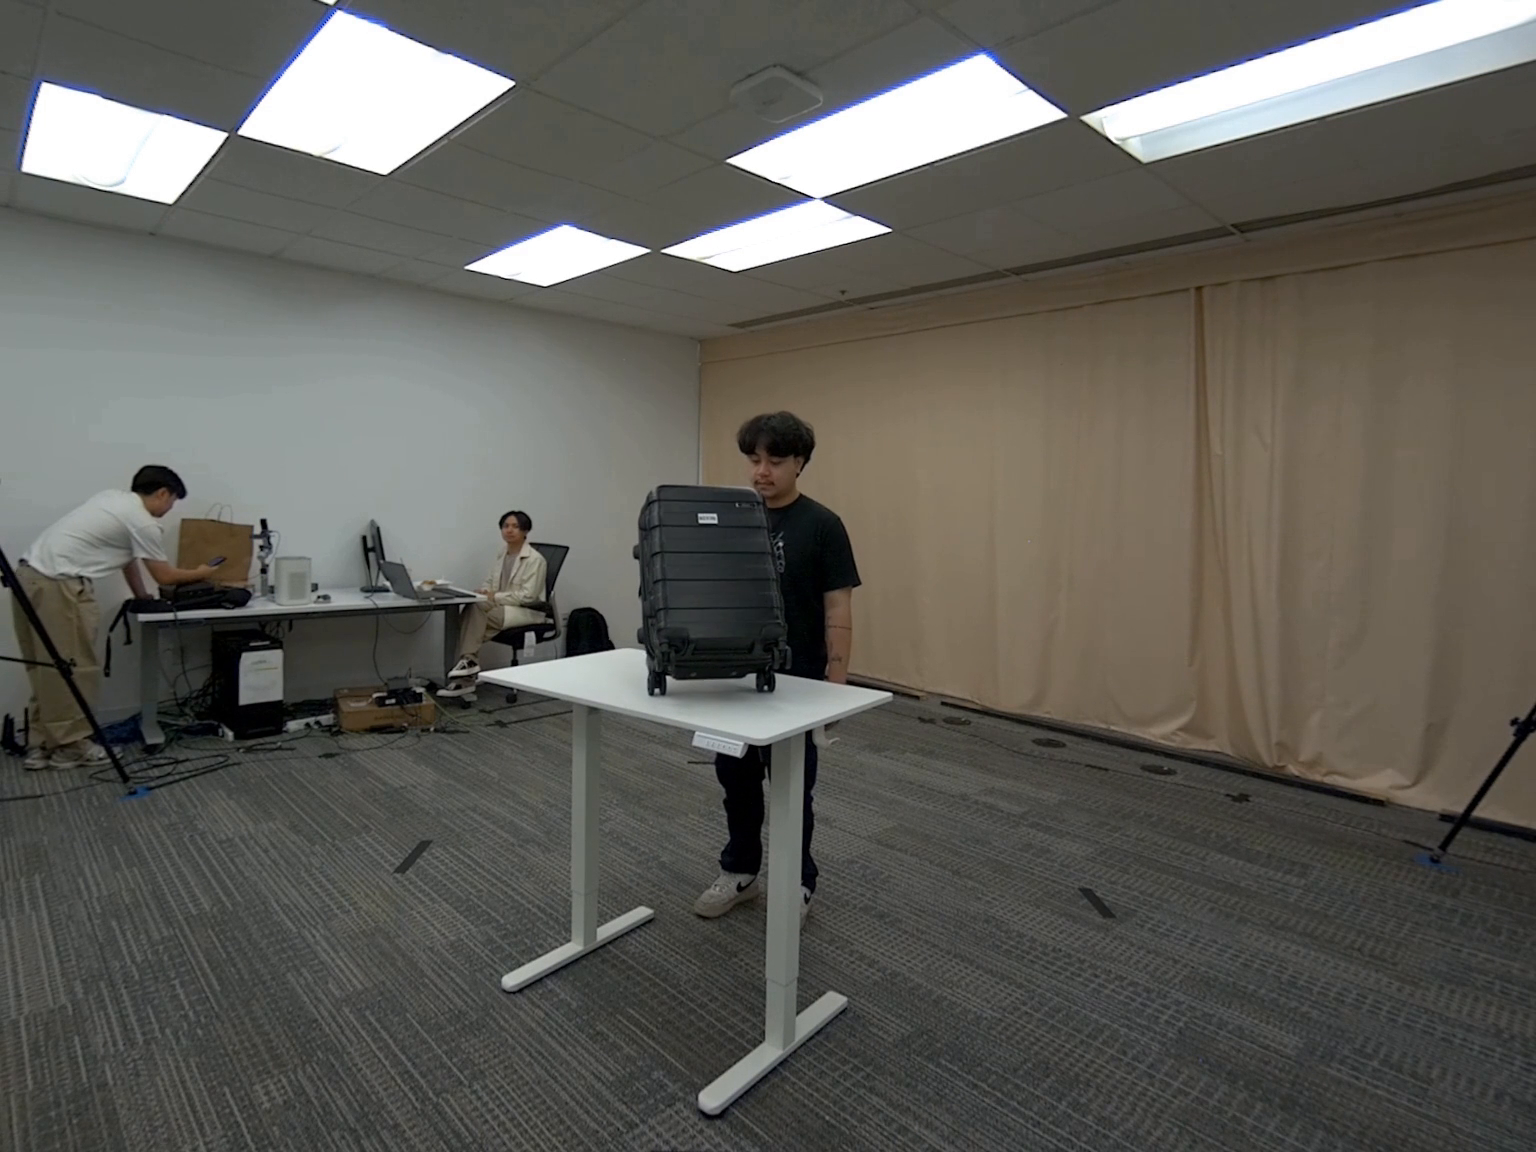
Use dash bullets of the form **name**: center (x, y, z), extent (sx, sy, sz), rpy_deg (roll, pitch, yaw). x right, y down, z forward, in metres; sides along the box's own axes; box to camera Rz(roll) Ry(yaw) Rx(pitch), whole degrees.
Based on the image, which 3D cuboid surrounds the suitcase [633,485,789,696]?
- **suitcase**: center (-0.171, 0.029, 2.254), extent (0.371, 0.561, 0.245), rpy_deg (0, -32, -13)
